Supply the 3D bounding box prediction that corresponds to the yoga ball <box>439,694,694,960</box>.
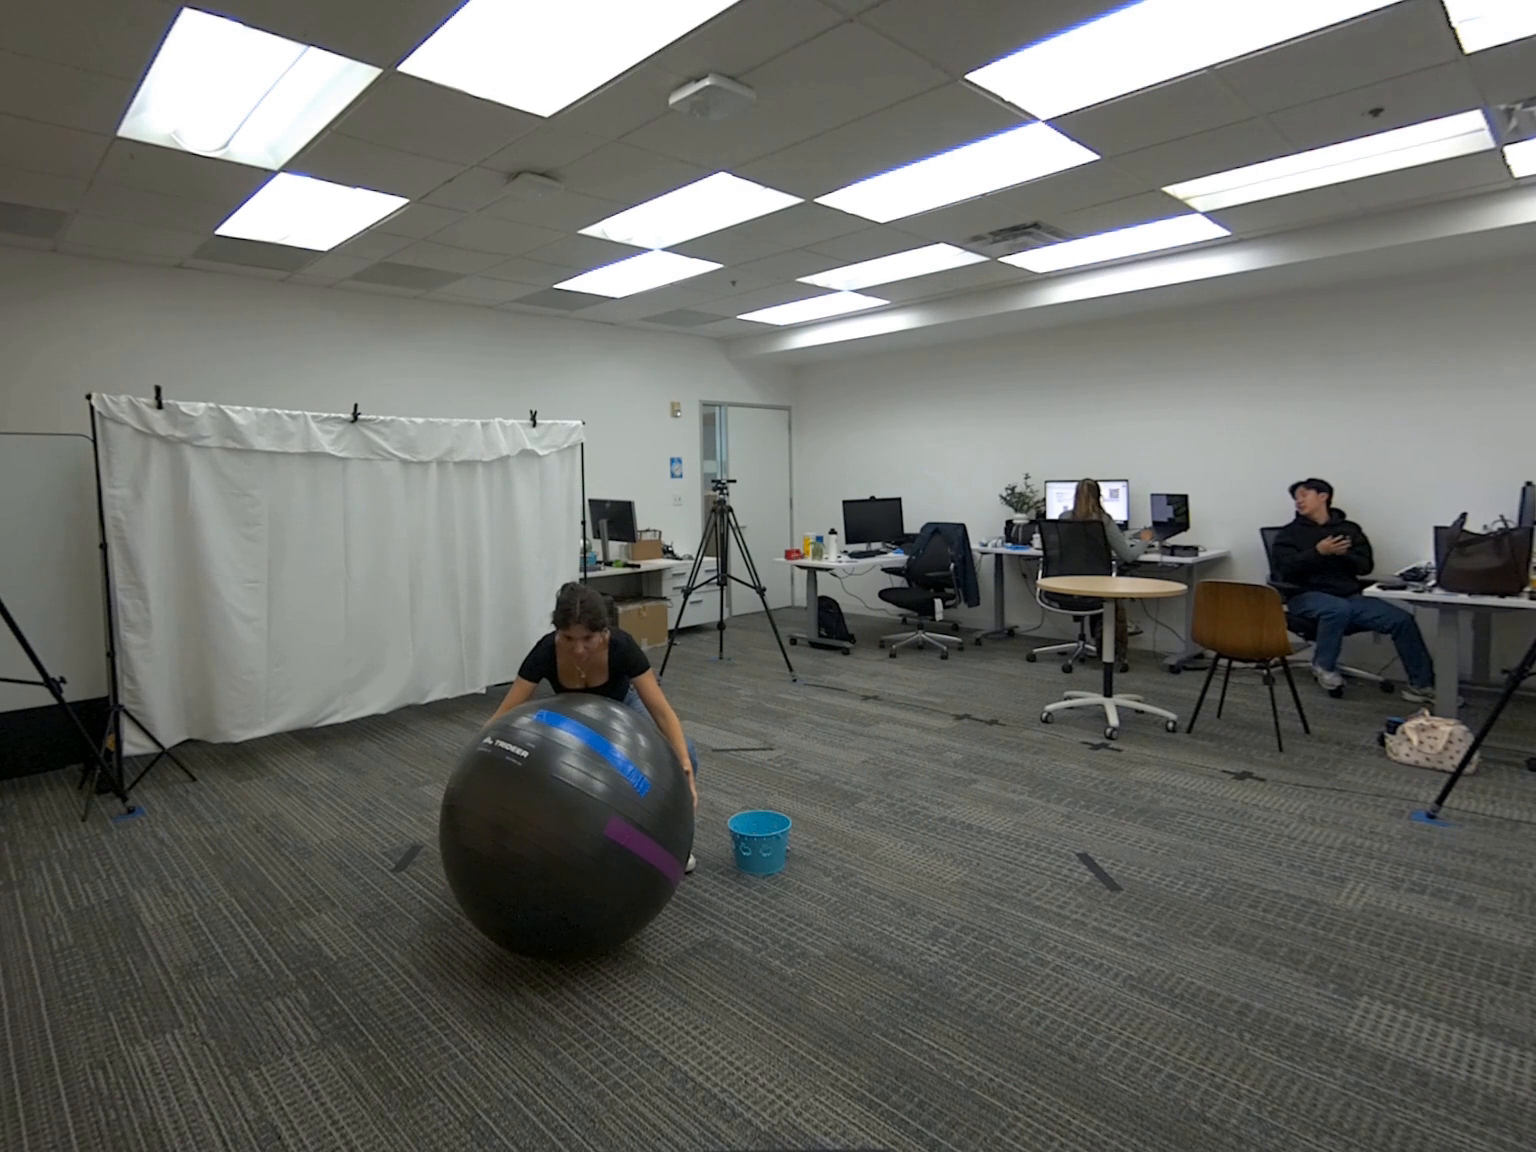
[{"bbox_3d":[-0.606,0.746,2.584,0.757,0.755,0.762,-1,5,-2],"label":"yoga ball"}]
